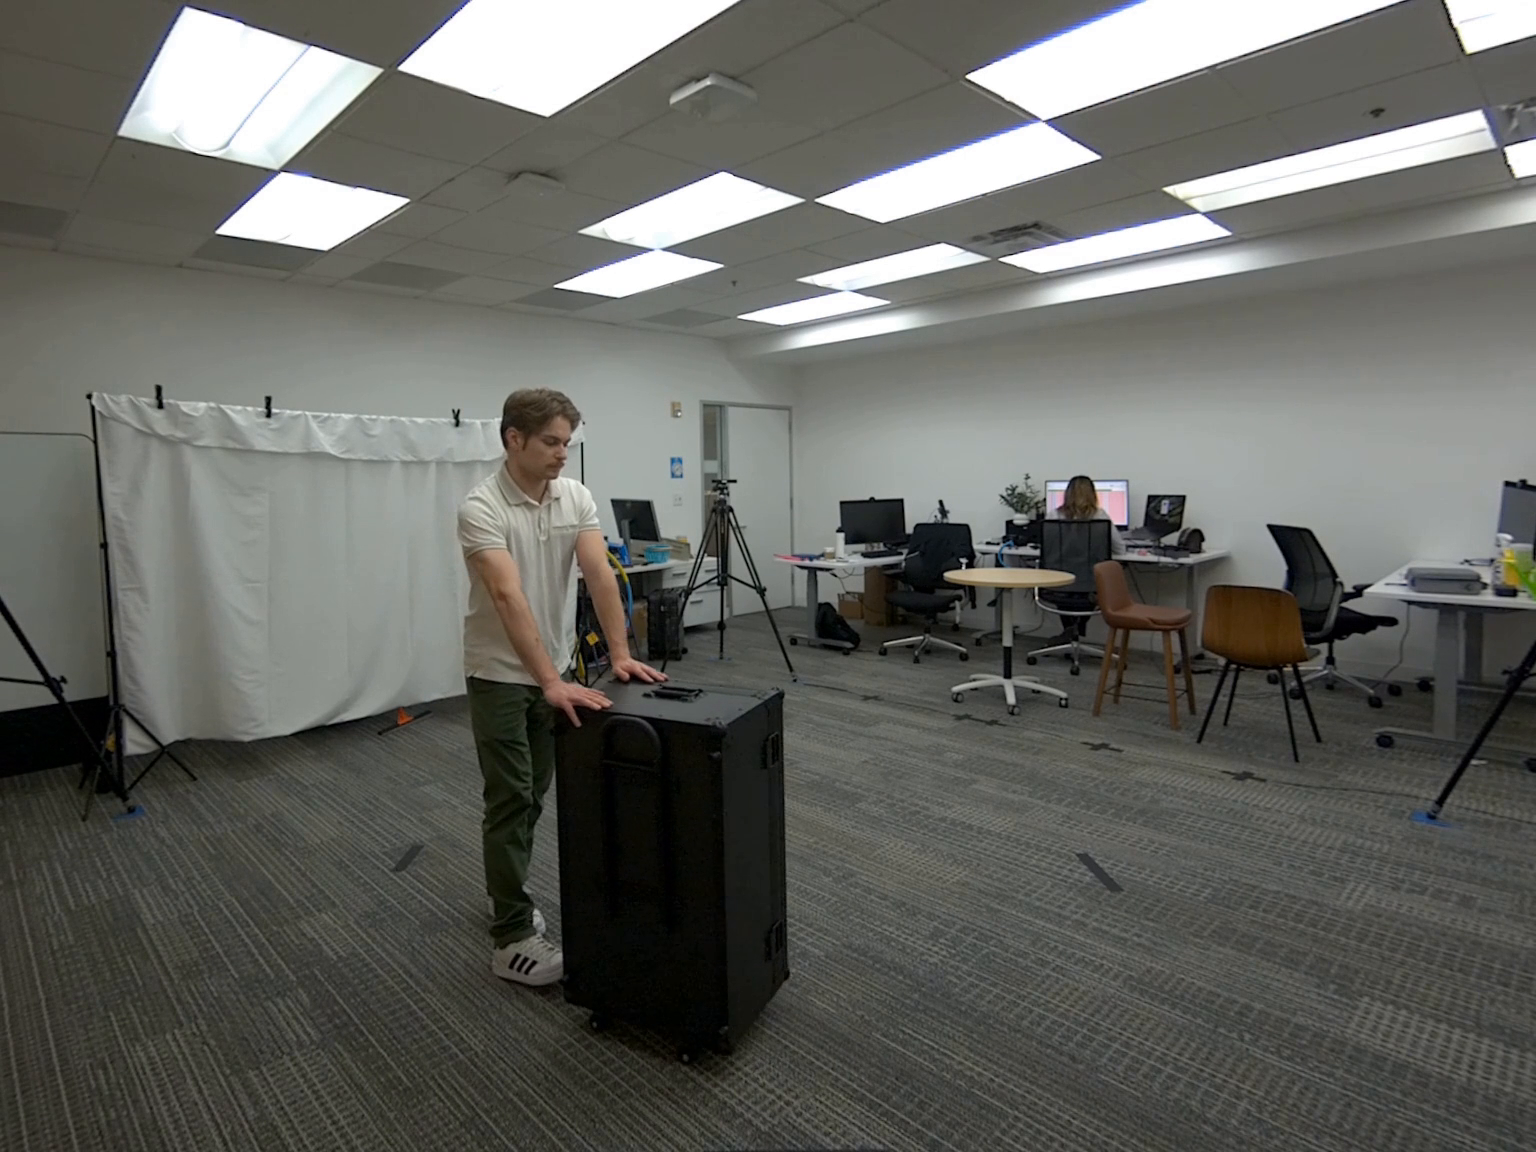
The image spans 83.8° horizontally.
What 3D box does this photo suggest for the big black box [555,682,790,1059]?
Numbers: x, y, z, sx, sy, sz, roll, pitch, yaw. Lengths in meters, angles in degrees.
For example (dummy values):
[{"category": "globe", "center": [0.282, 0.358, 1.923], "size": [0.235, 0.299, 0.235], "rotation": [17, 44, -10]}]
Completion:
[{"category": "big black box", "center": [-0.235, 0.736, 2.210], "size": [0.536, 0.865, 0.378], "rotation": [1, 5, 25]}]
